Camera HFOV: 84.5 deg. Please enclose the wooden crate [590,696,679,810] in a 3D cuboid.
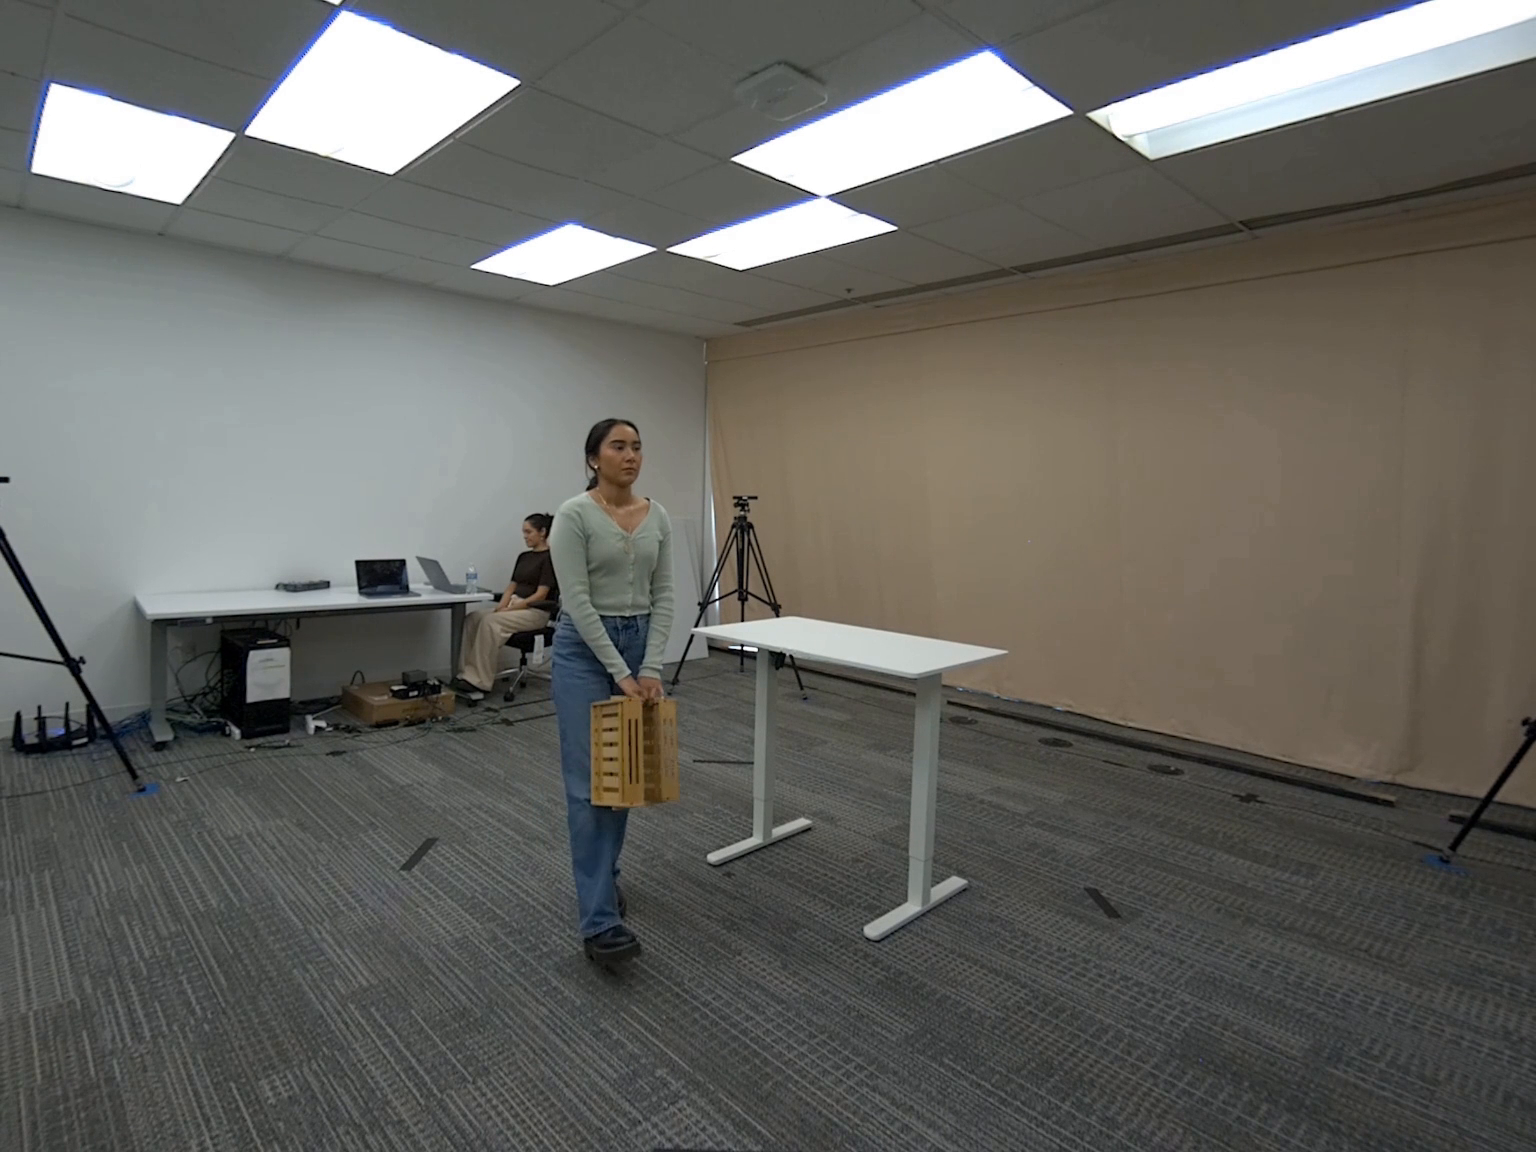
[{"bbox_3d":[-0.386,0.540,2.553,0.266,0.328,0.306,7,-16,-36],"label":"wooden crate"}]
